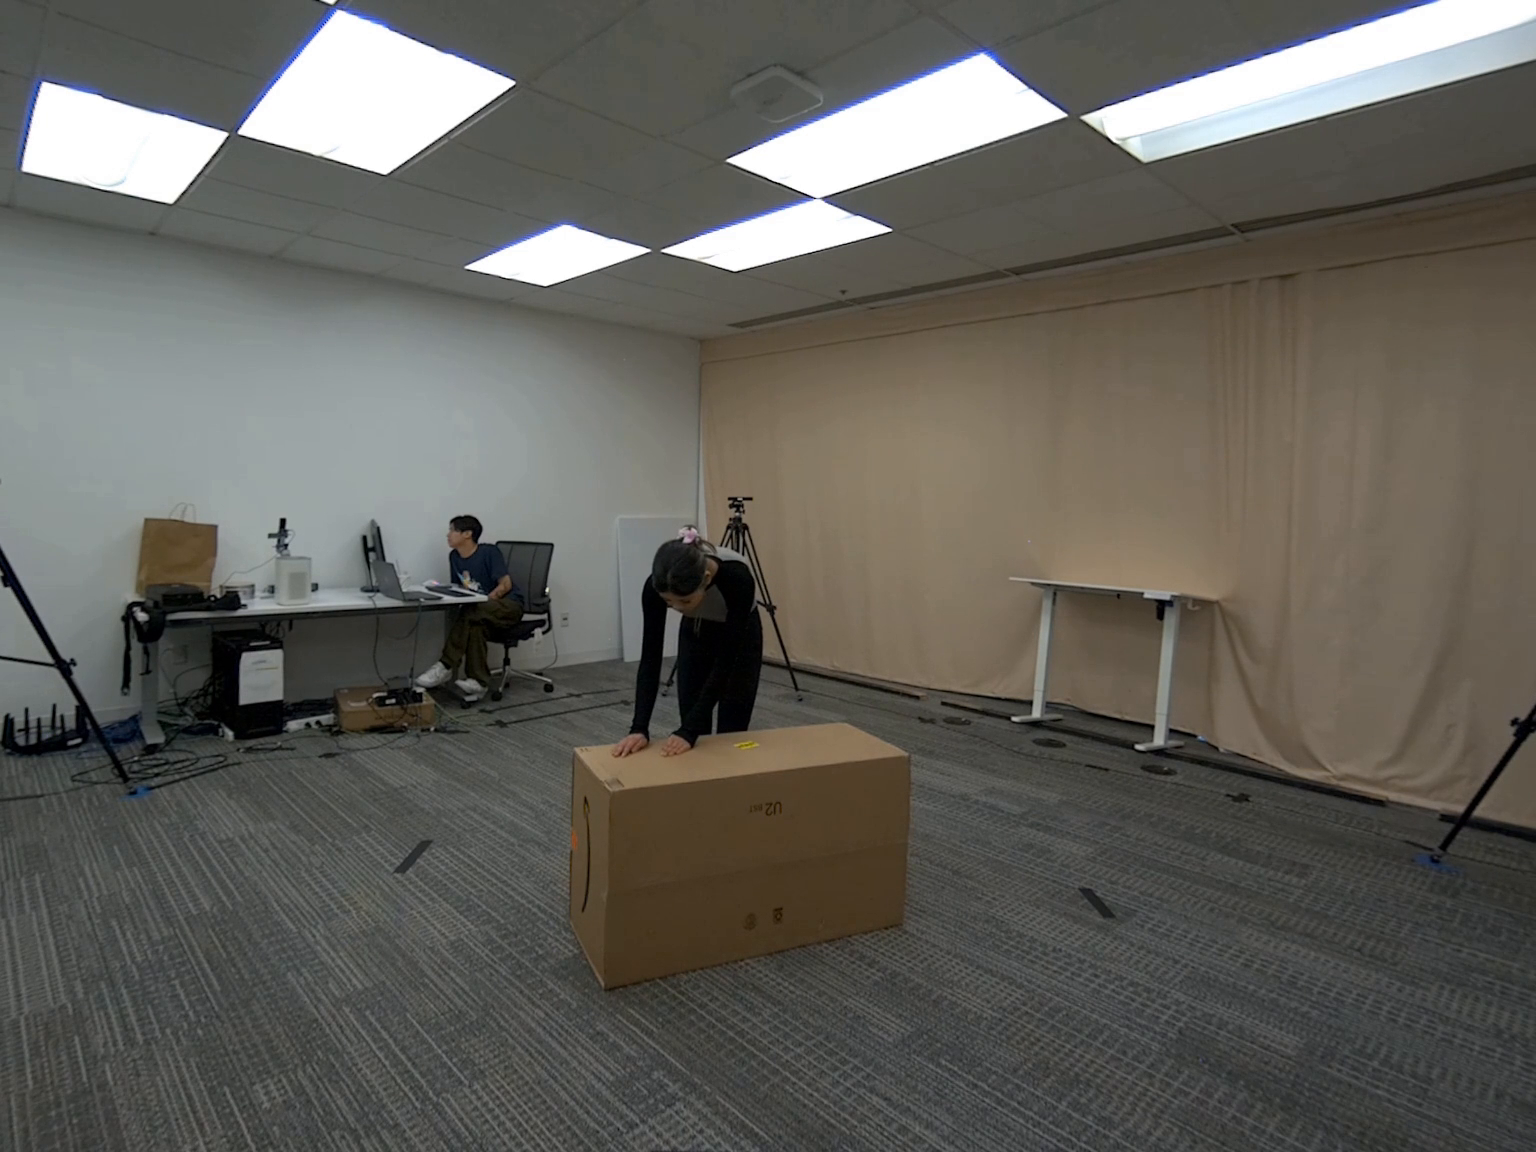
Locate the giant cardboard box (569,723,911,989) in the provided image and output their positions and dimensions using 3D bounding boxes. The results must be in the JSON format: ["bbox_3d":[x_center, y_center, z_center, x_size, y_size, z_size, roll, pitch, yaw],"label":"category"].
[{"bbox_3d":[-0.092,0.854,2.740,1.008,0.576,0.435,0,4,-24],"label":"giant cardboard box"}]
